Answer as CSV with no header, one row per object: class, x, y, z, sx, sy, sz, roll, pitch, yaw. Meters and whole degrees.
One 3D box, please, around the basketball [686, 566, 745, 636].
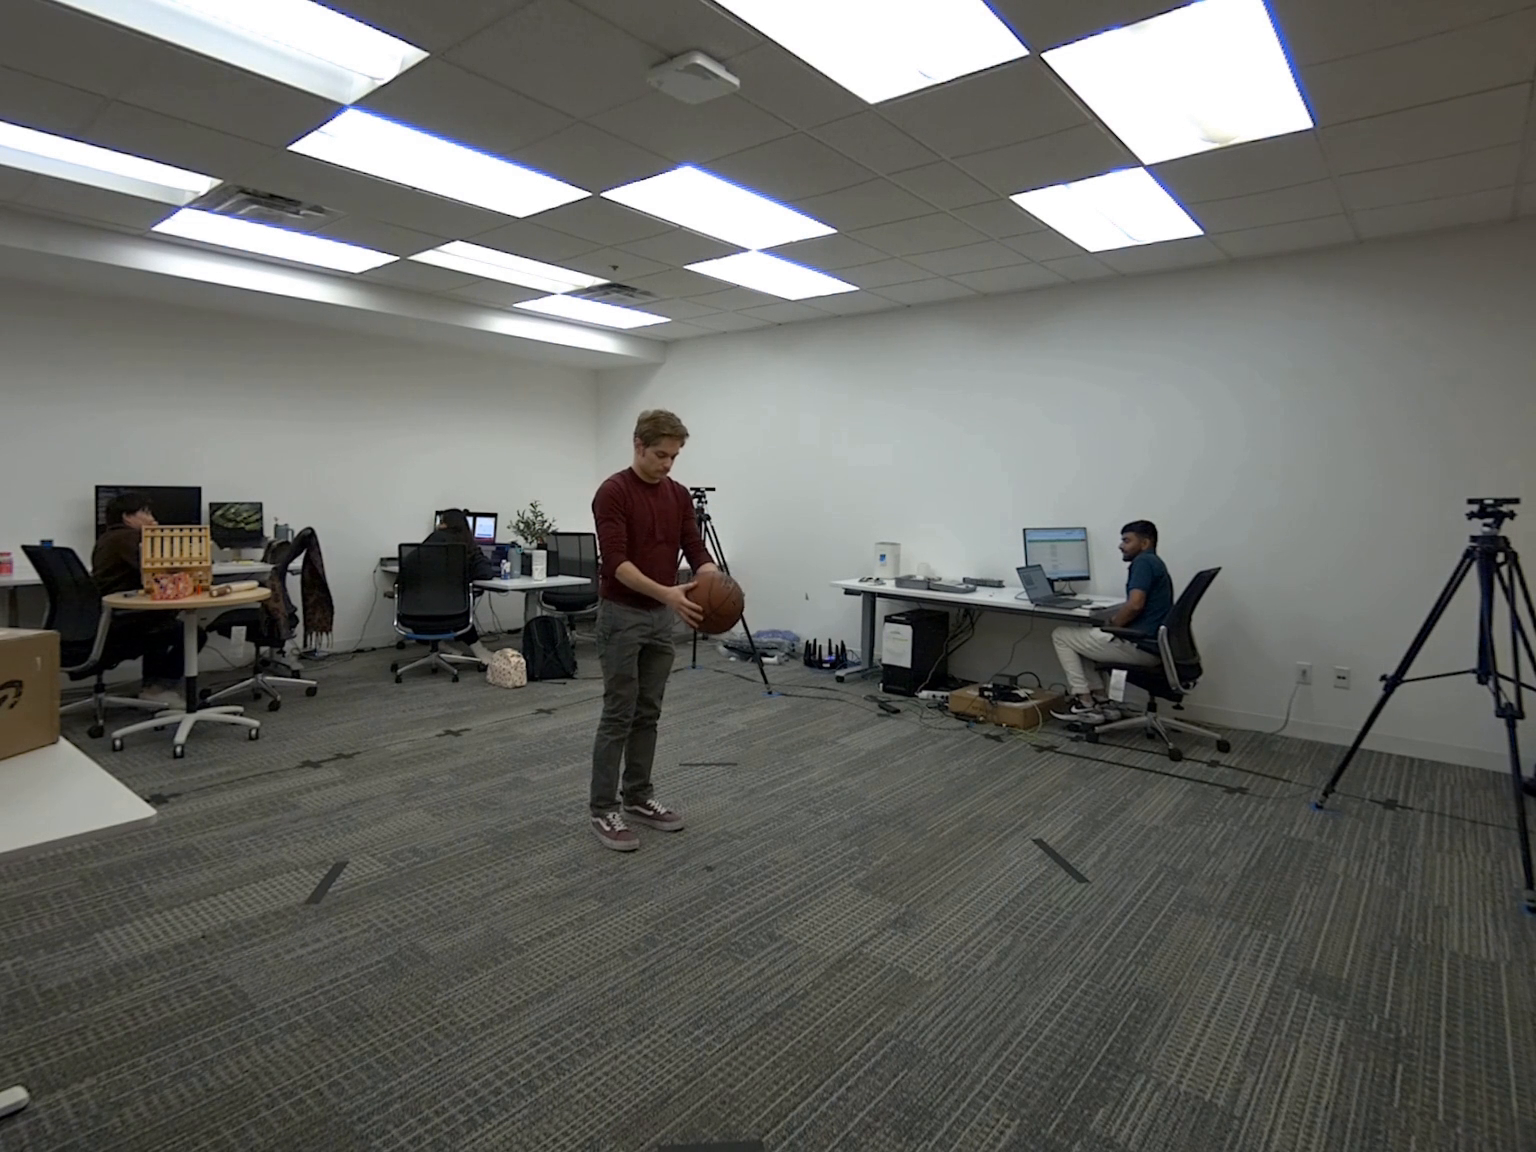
basketball,-0.225,0.096,3.172,0.235,0.235,0.237,1,4,-2
